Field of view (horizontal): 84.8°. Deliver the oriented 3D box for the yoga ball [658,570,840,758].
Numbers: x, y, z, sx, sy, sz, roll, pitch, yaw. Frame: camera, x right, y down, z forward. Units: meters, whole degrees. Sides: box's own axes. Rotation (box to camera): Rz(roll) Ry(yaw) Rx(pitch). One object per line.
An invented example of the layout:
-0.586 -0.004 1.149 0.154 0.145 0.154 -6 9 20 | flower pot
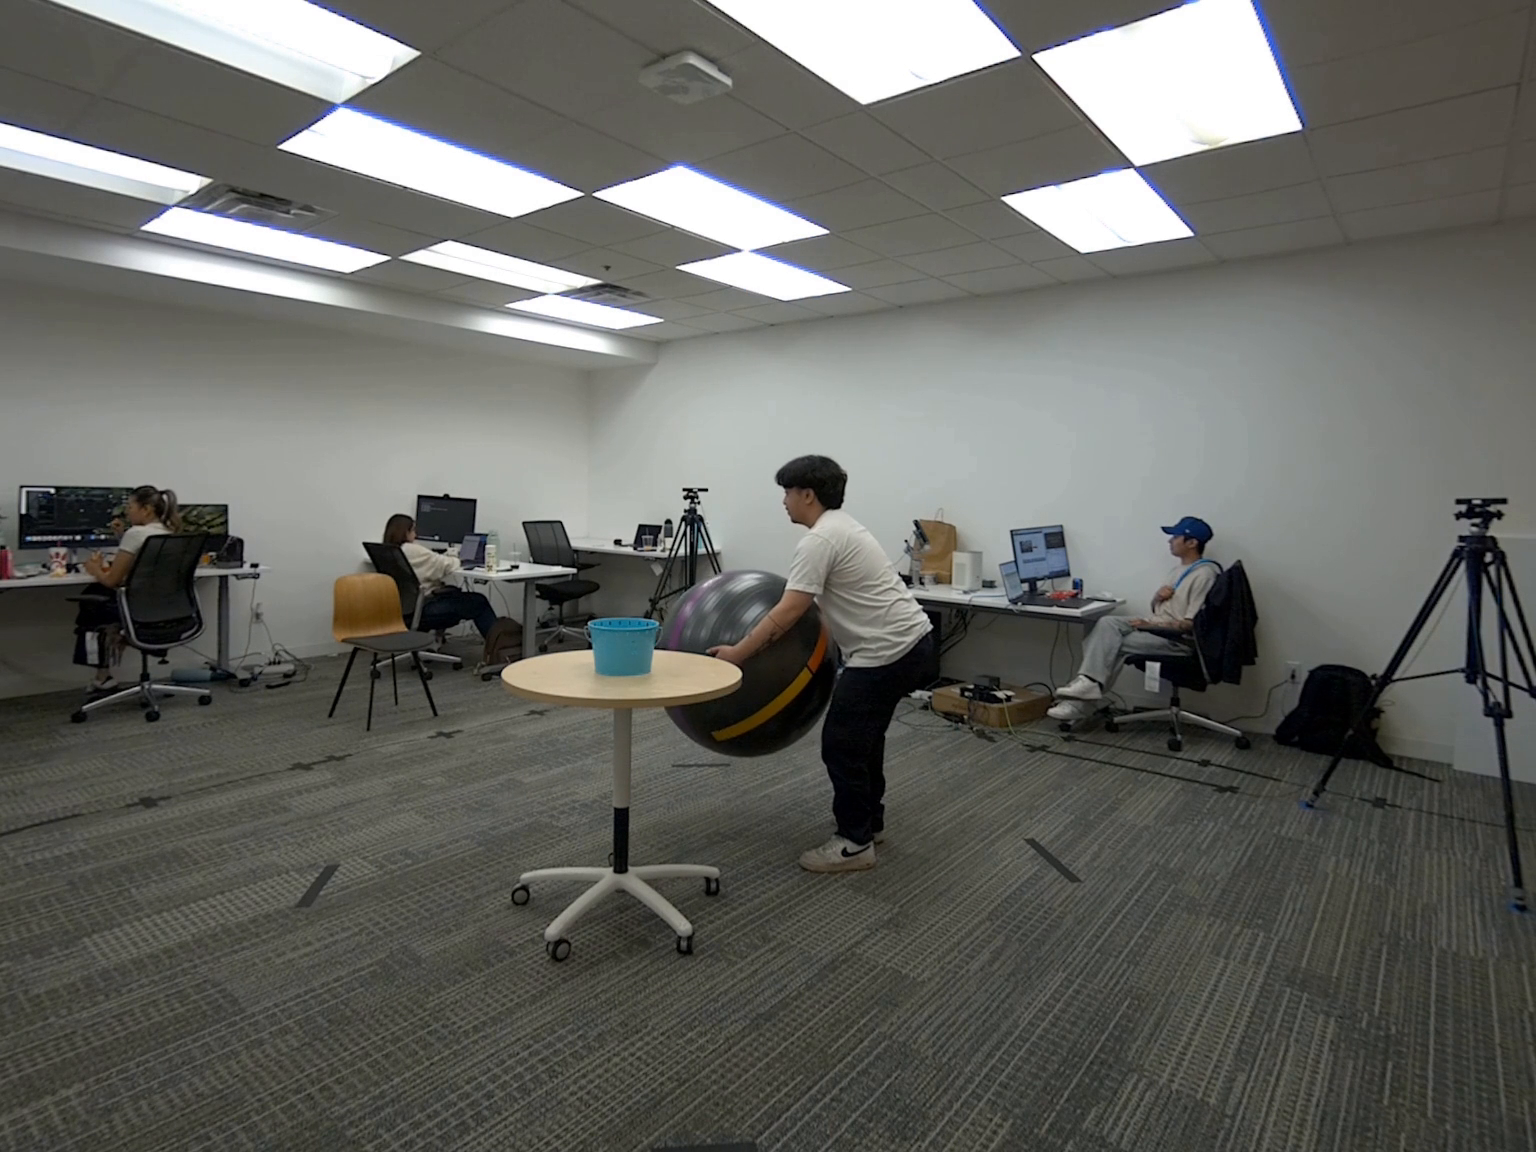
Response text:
-0.107 0.358 3.516 0.757 0.756 0.761 1 4 -2 | yoga ball
